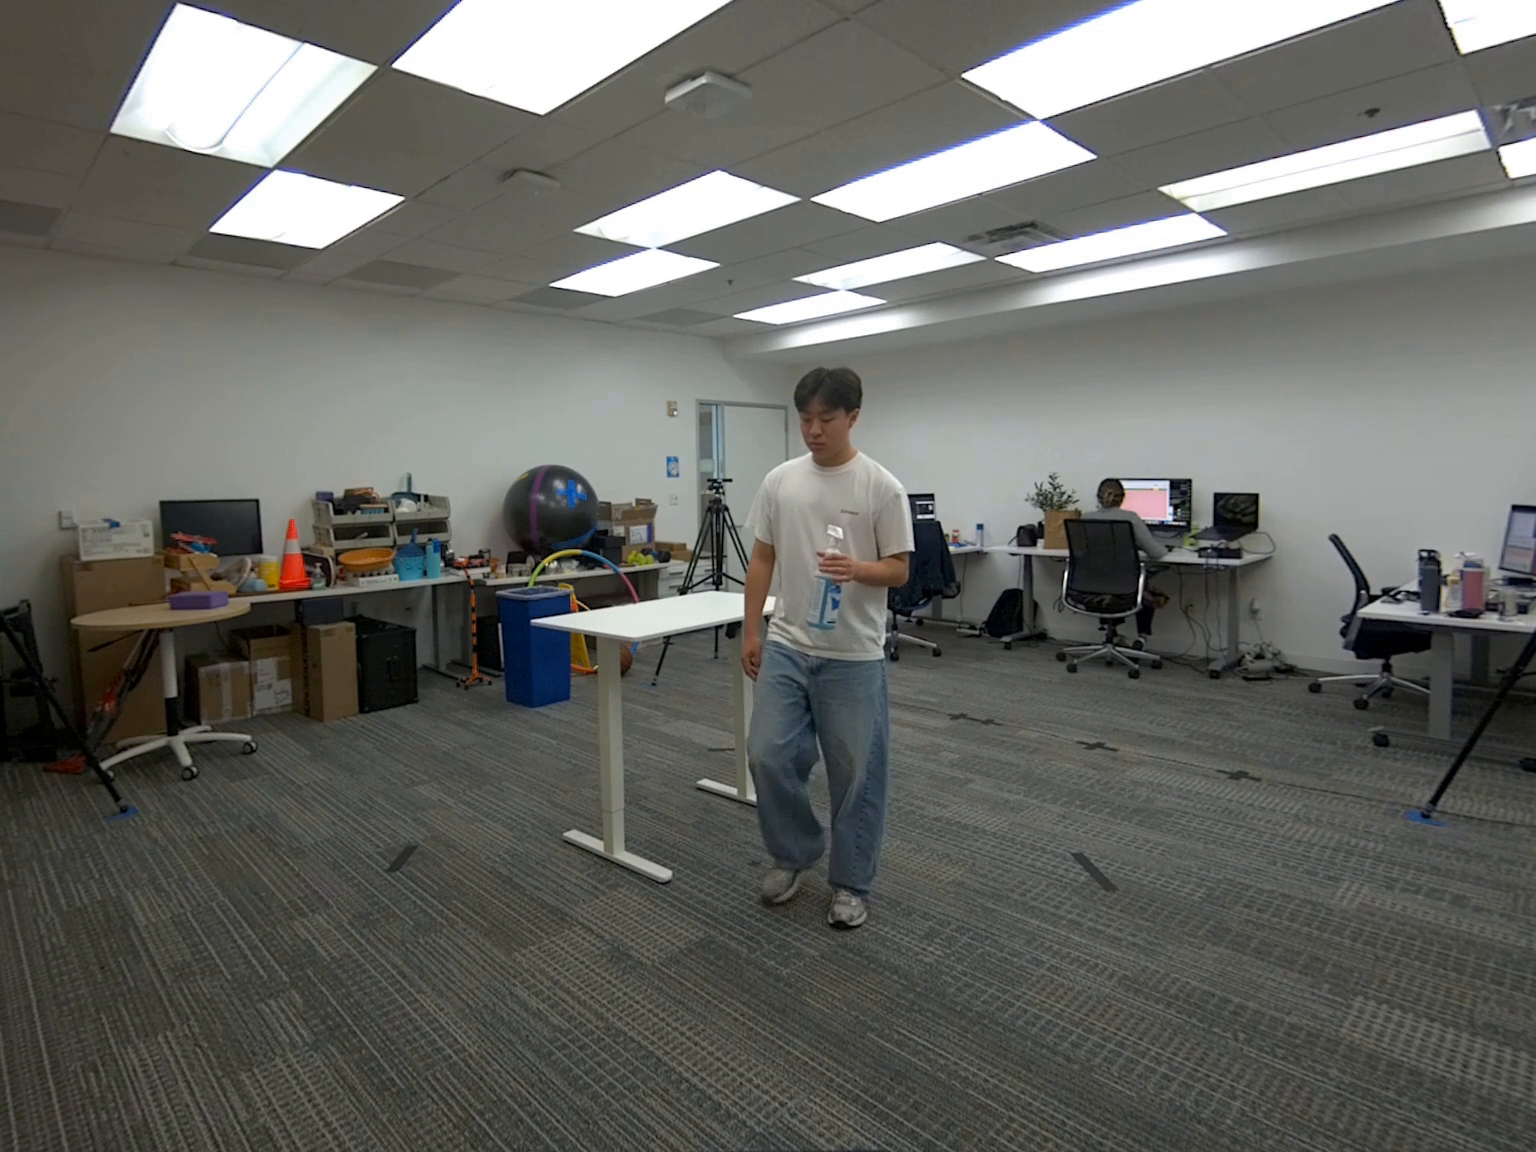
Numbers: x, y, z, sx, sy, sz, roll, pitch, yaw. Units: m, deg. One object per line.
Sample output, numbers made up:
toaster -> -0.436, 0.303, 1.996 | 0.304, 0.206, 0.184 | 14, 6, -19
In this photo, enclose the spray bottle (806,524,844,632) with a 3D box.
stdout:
spray bottle -> 0.183, 0.013, 2.477 | 0.087, 0.297, 0.090 | 7, 2, 4
